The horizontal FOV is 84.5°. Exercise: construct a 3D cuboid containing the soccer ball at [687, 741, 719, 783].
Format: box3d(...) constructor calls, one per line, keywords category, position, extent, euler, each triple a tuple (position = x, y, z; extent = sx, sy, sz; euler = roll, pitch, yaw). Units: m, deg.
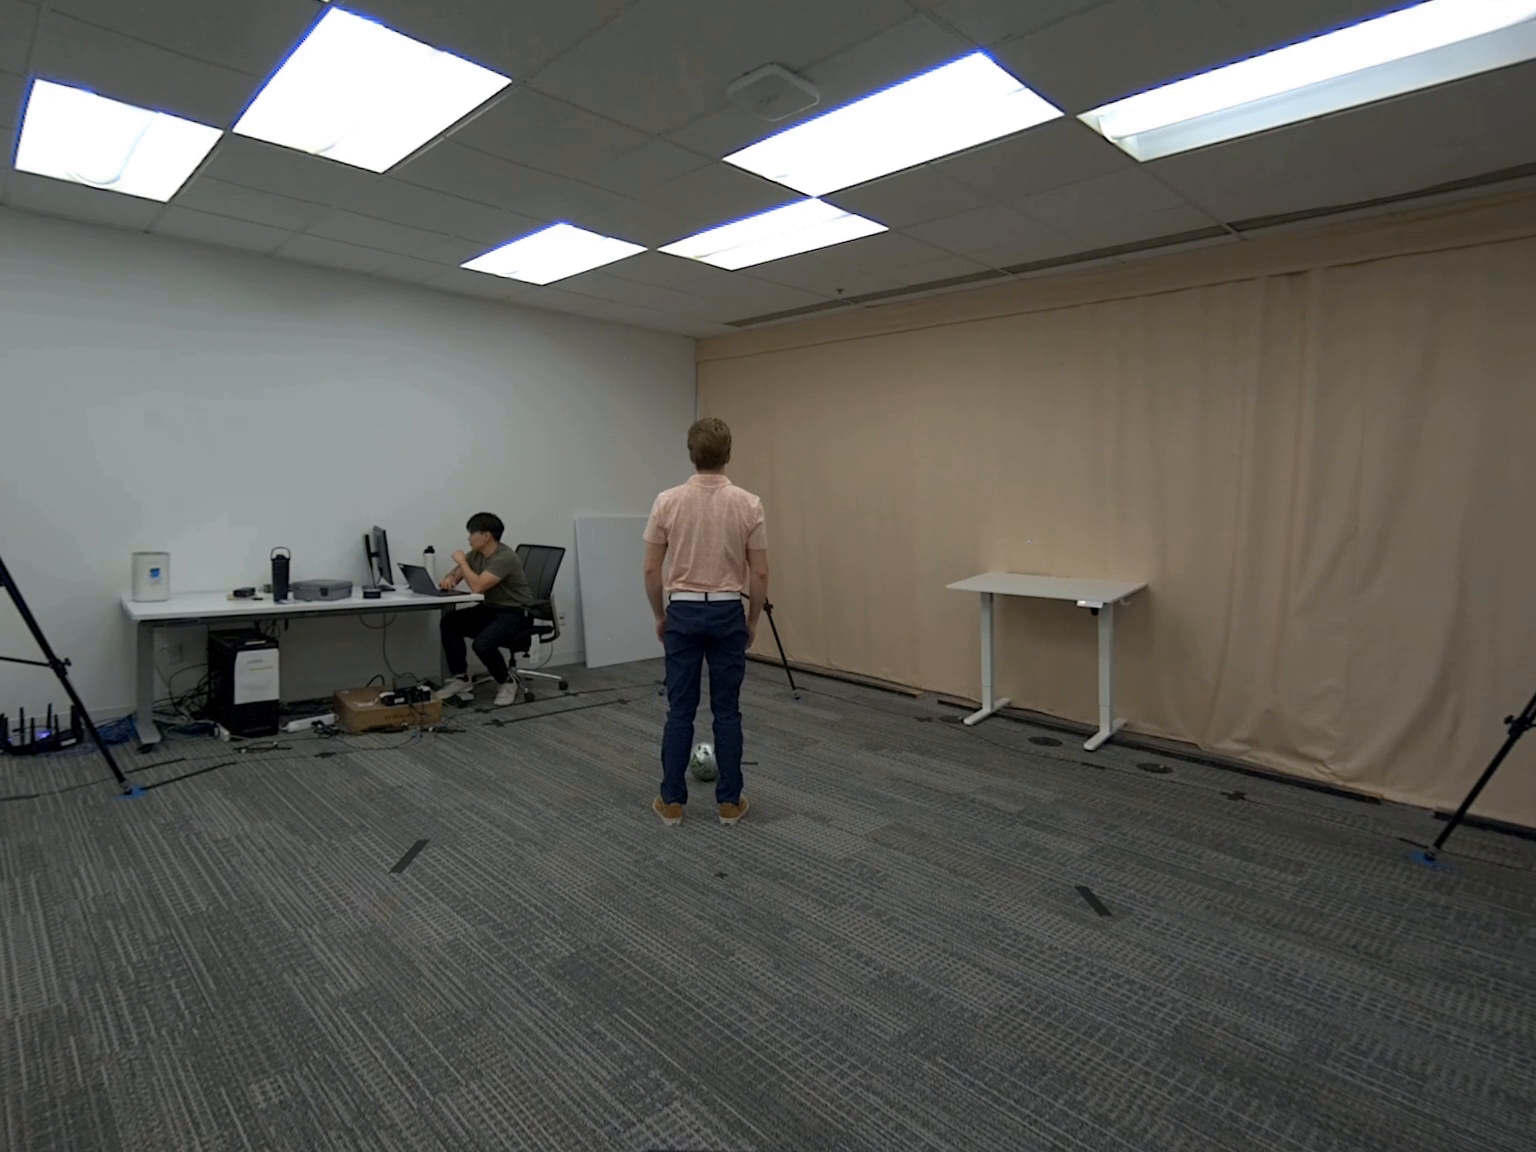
box3d(category="soccer ball", position=(-0.314, 0.911, 4.173), extent=(0.187, 0.187, 0.188), euler=(1, 4, -1))
